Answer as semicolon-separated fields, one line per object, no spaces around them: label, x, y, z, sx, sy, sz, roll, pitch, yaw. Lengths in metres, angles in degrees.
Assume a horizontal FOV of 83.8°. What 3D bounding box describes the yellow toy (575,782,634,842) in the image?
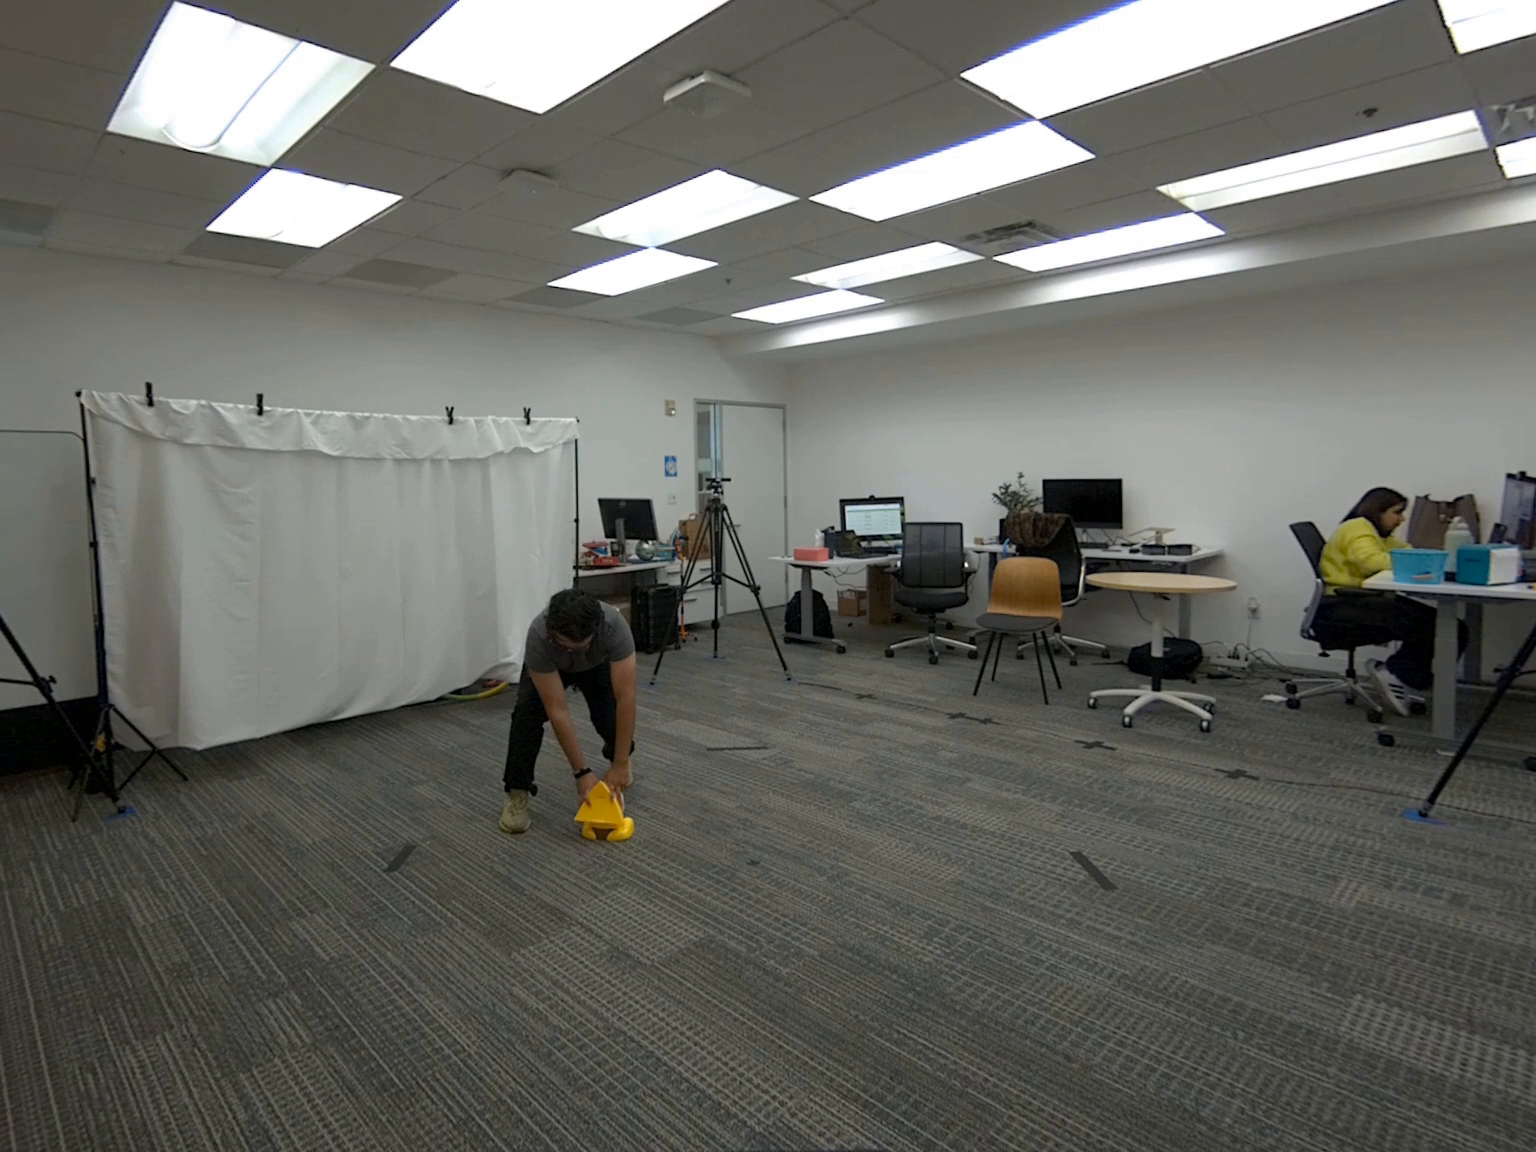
yellow toy;-0.640;0.910;3.391;0.207;0.229;0.192;-1;6;12
